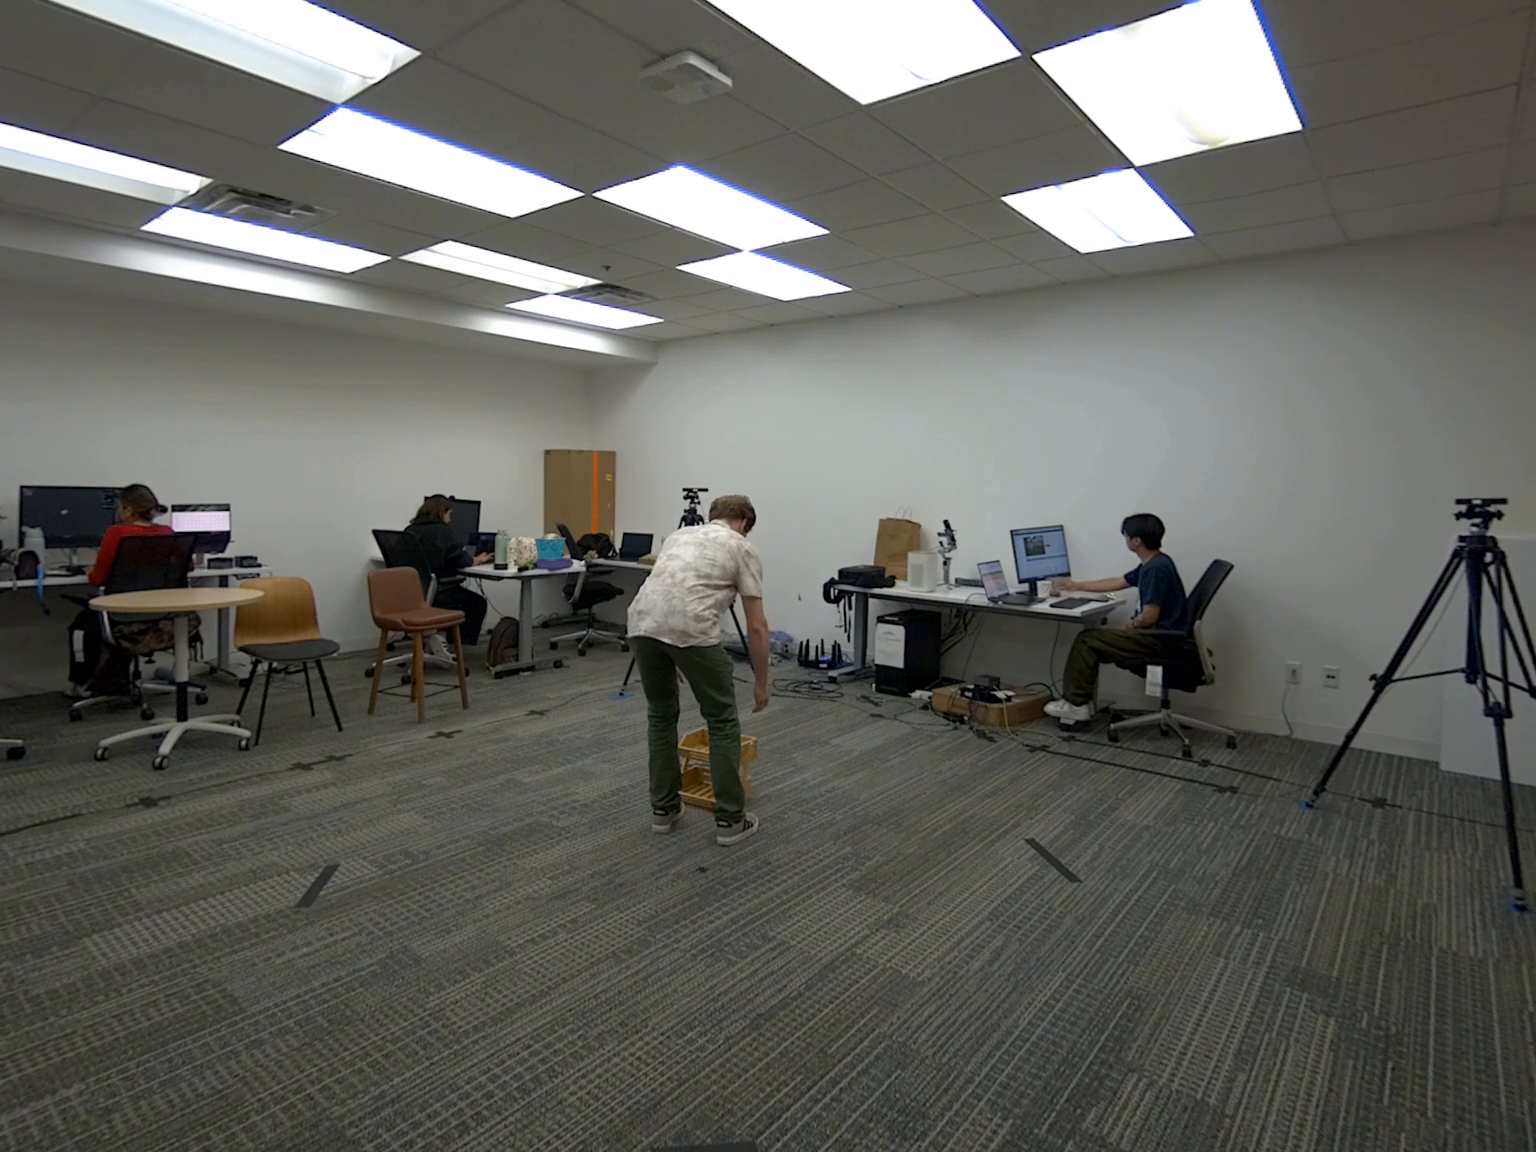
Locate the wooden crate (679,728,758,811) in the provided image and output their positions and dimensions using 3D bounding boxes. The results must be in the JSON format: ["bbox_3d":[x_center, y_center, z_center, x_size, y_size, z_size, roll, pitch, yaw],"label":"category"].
[{"bbox_3d":[-0.266,0.861,3.840,0.334,0.272,0.294,3,4,30],"label":"wooden crate"}]
